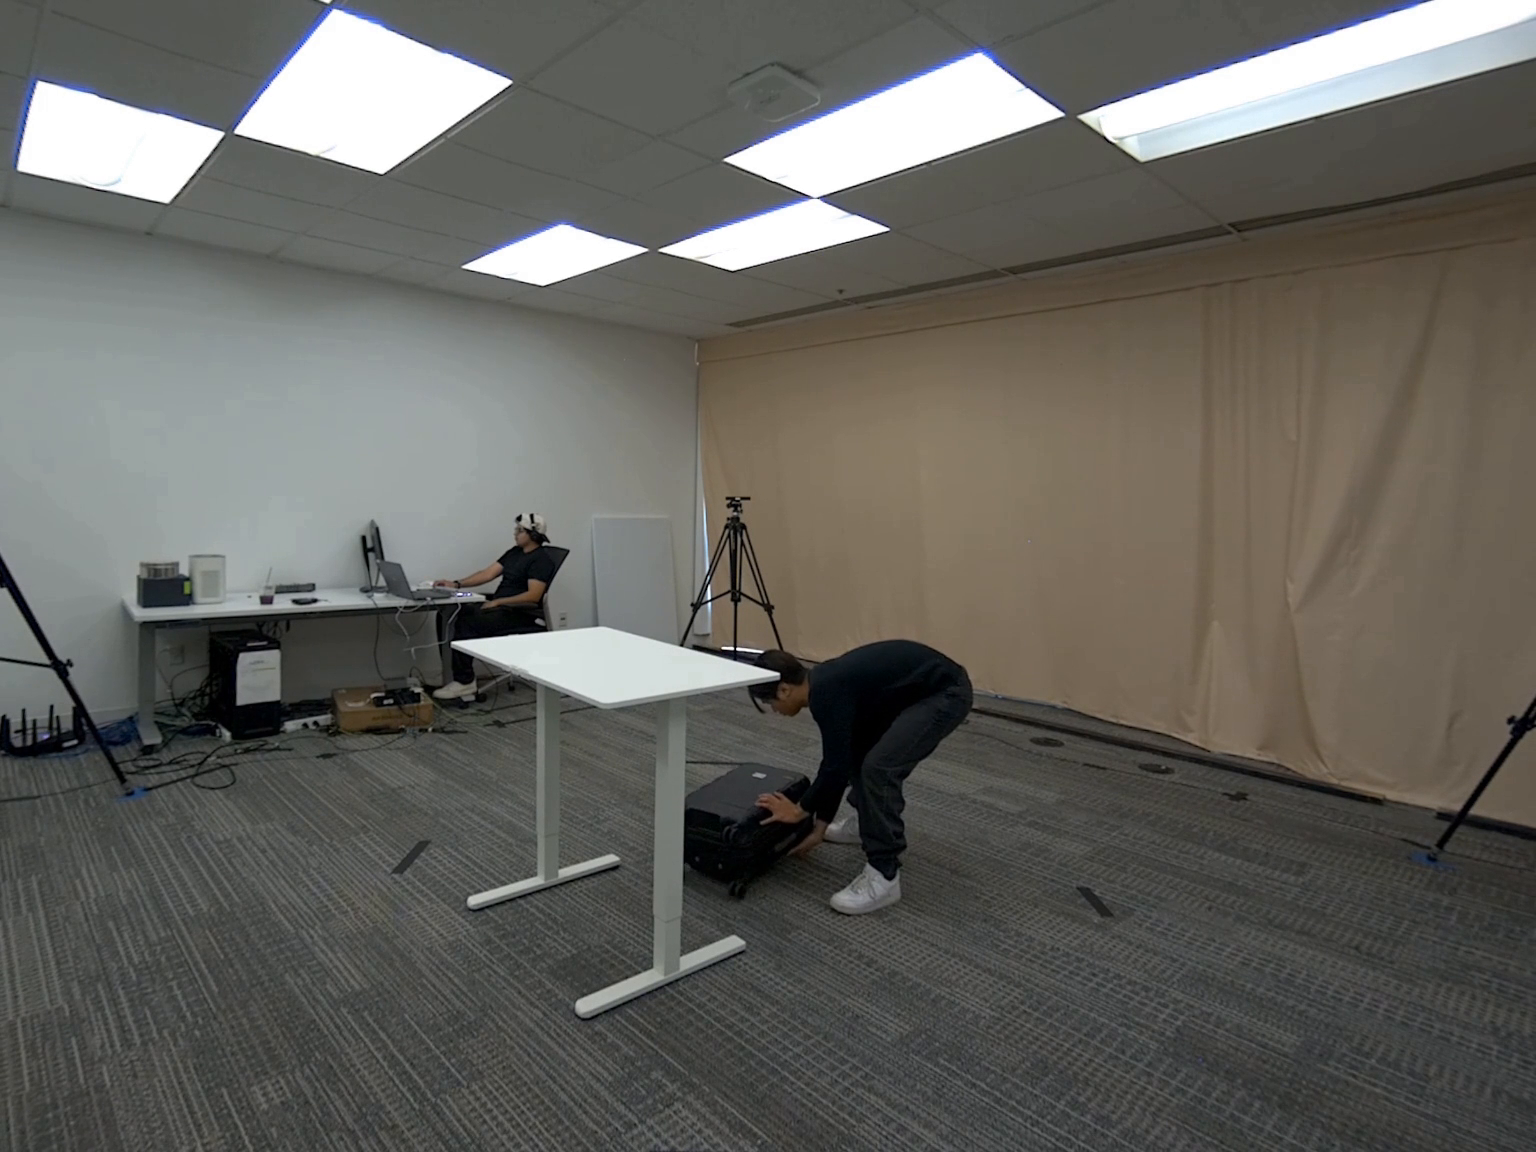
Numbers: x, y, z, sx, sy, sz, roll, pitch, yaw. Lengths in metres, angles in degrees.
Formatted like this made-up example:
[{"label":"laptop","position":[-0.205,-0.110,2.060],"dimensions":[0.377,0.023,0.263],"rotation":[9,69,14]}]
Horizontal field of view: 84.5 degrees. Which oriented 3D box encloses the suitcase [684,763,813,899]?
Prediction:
[{"label":"suitcase","position":[0.018,0.878,3.351],"dimensions":[0.393,0.255,0.964],"rotation":[0,12,35]}]
